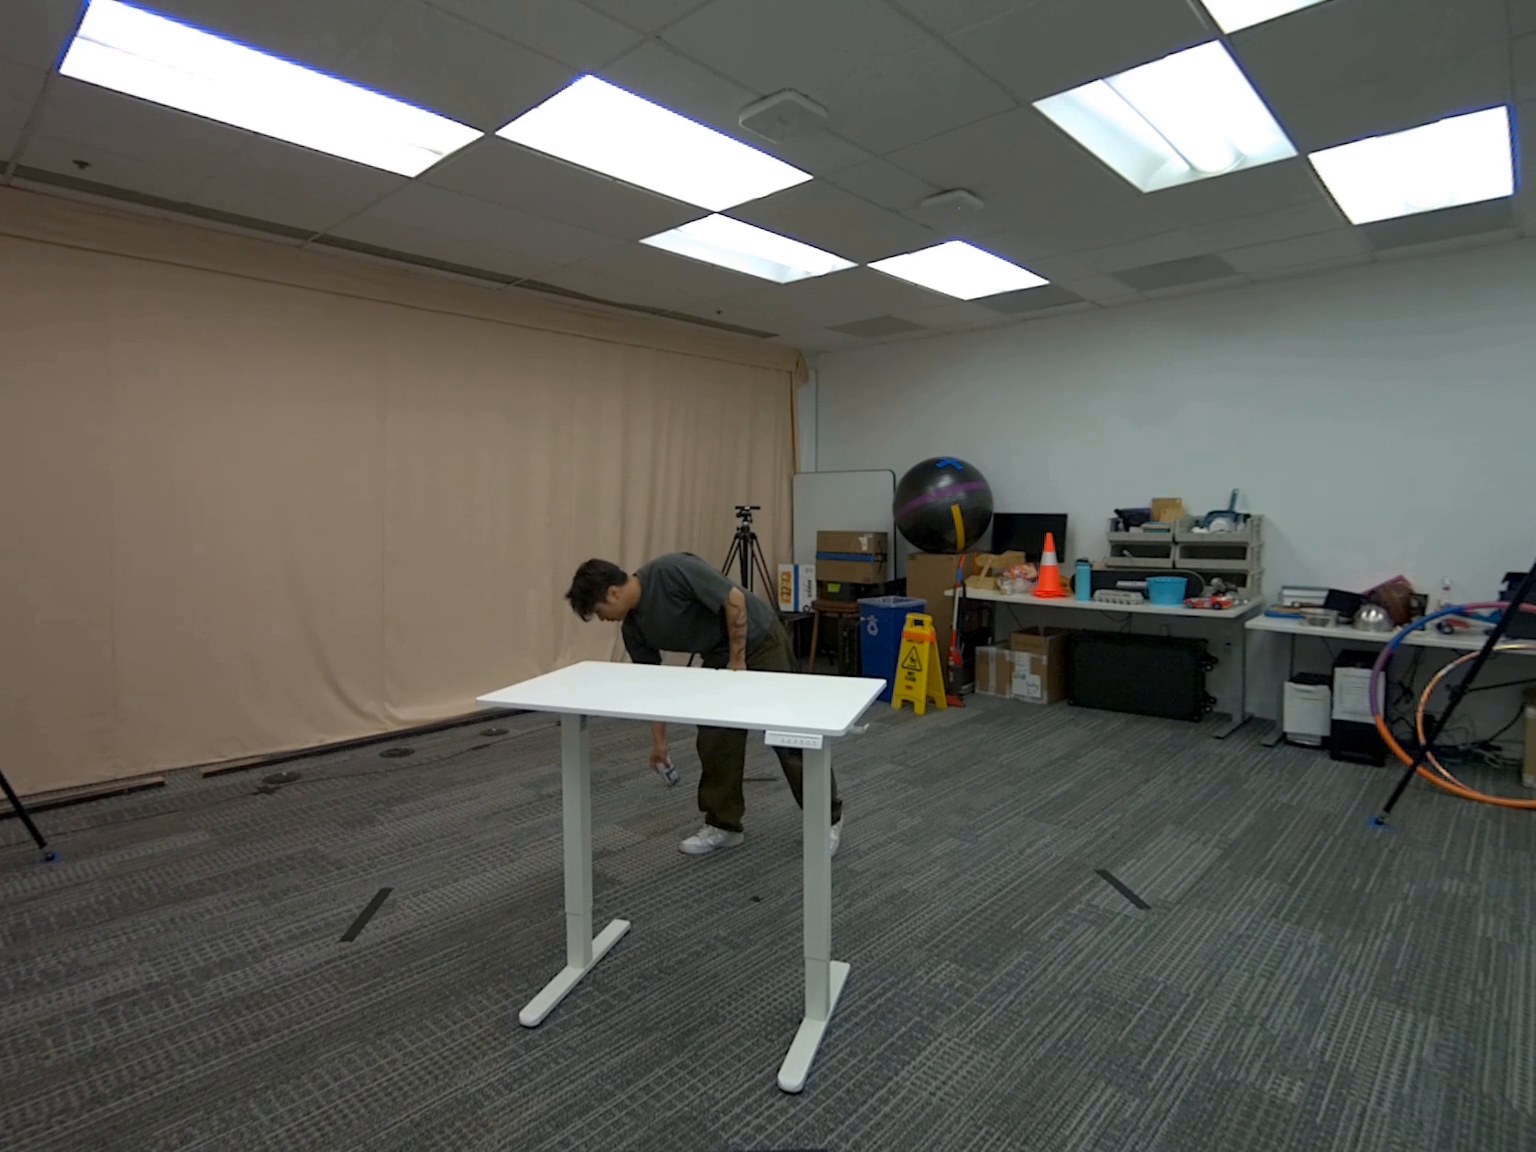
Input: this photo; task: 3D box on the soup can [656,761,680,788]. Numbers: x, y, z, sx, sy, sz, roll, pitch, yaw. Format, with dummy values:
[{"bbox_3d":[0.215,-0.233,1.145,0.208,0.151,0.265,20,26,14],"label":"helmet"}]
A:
[{"bbox_3d":[-0.422,0.830,3.557,0.067,0.121,0.067,-28,1,-1],"label":"soup can"}]
